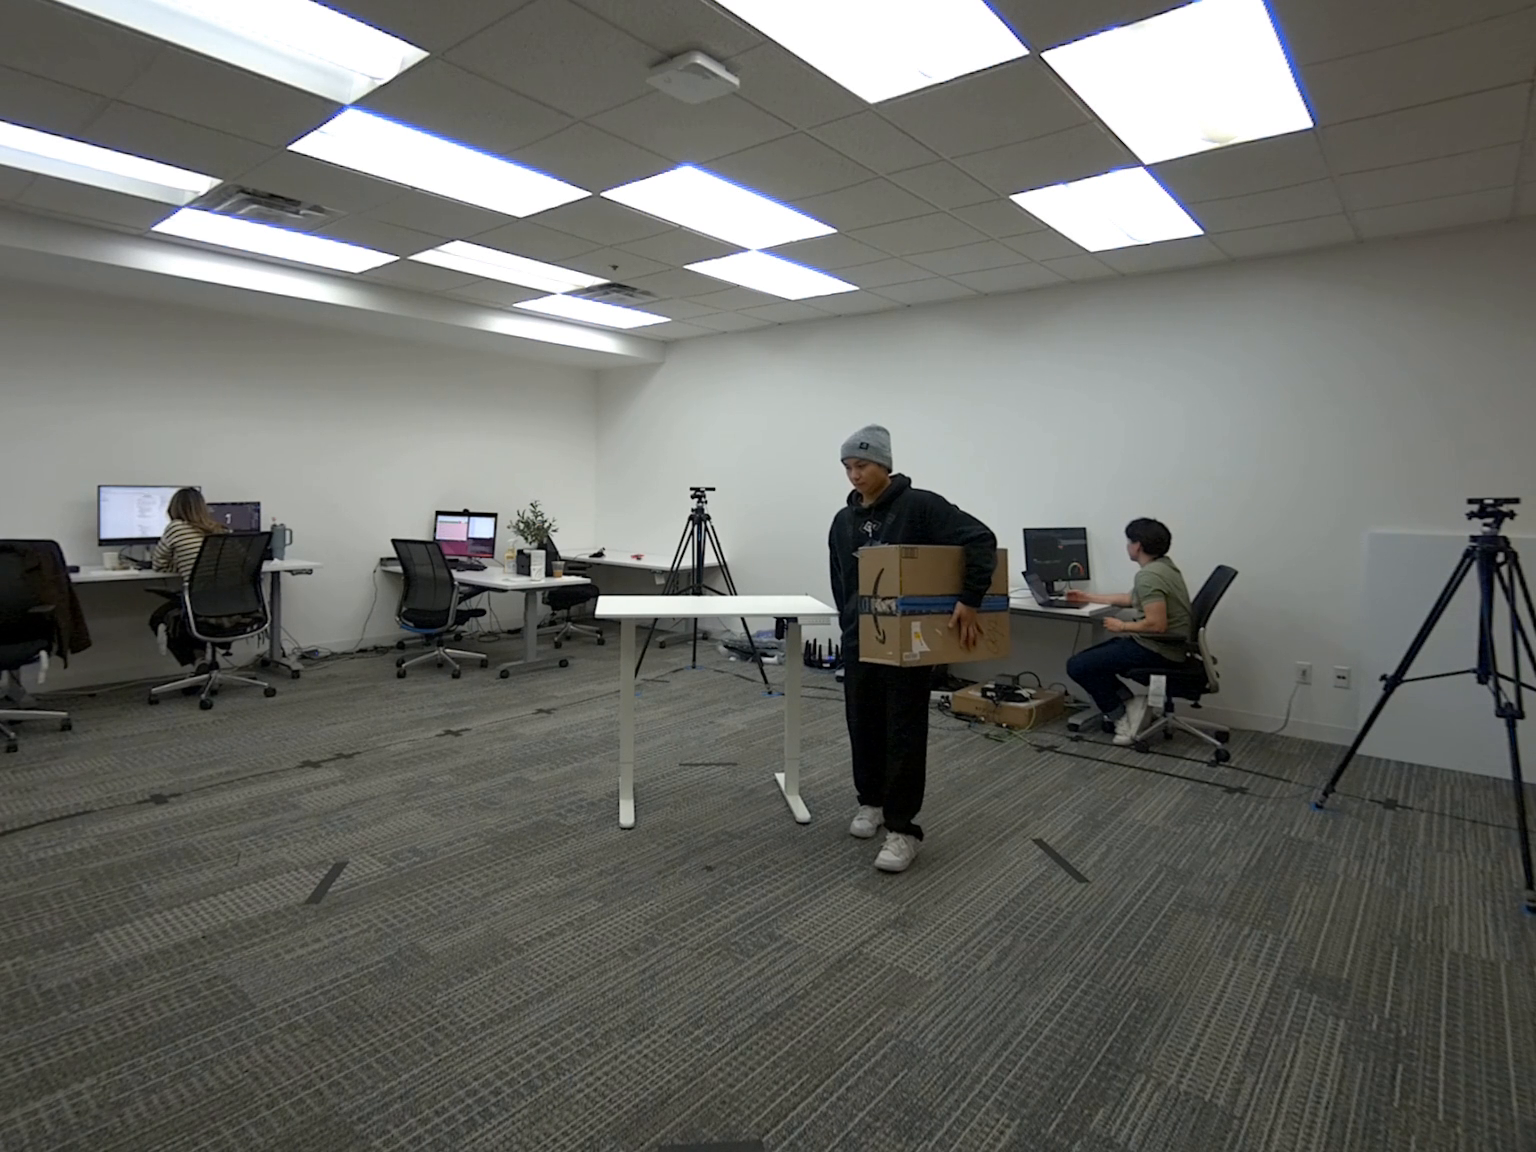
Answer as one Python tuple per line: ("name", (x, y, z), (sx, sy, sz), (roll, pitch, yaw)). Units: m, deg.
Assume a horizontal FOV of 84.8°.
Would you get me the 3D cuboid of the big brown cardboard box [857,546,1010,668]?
("big brown cardboard box", (0.614, 0.099, 3.136), (0.572, 0.419, 0.239), (0, -2, -32))
